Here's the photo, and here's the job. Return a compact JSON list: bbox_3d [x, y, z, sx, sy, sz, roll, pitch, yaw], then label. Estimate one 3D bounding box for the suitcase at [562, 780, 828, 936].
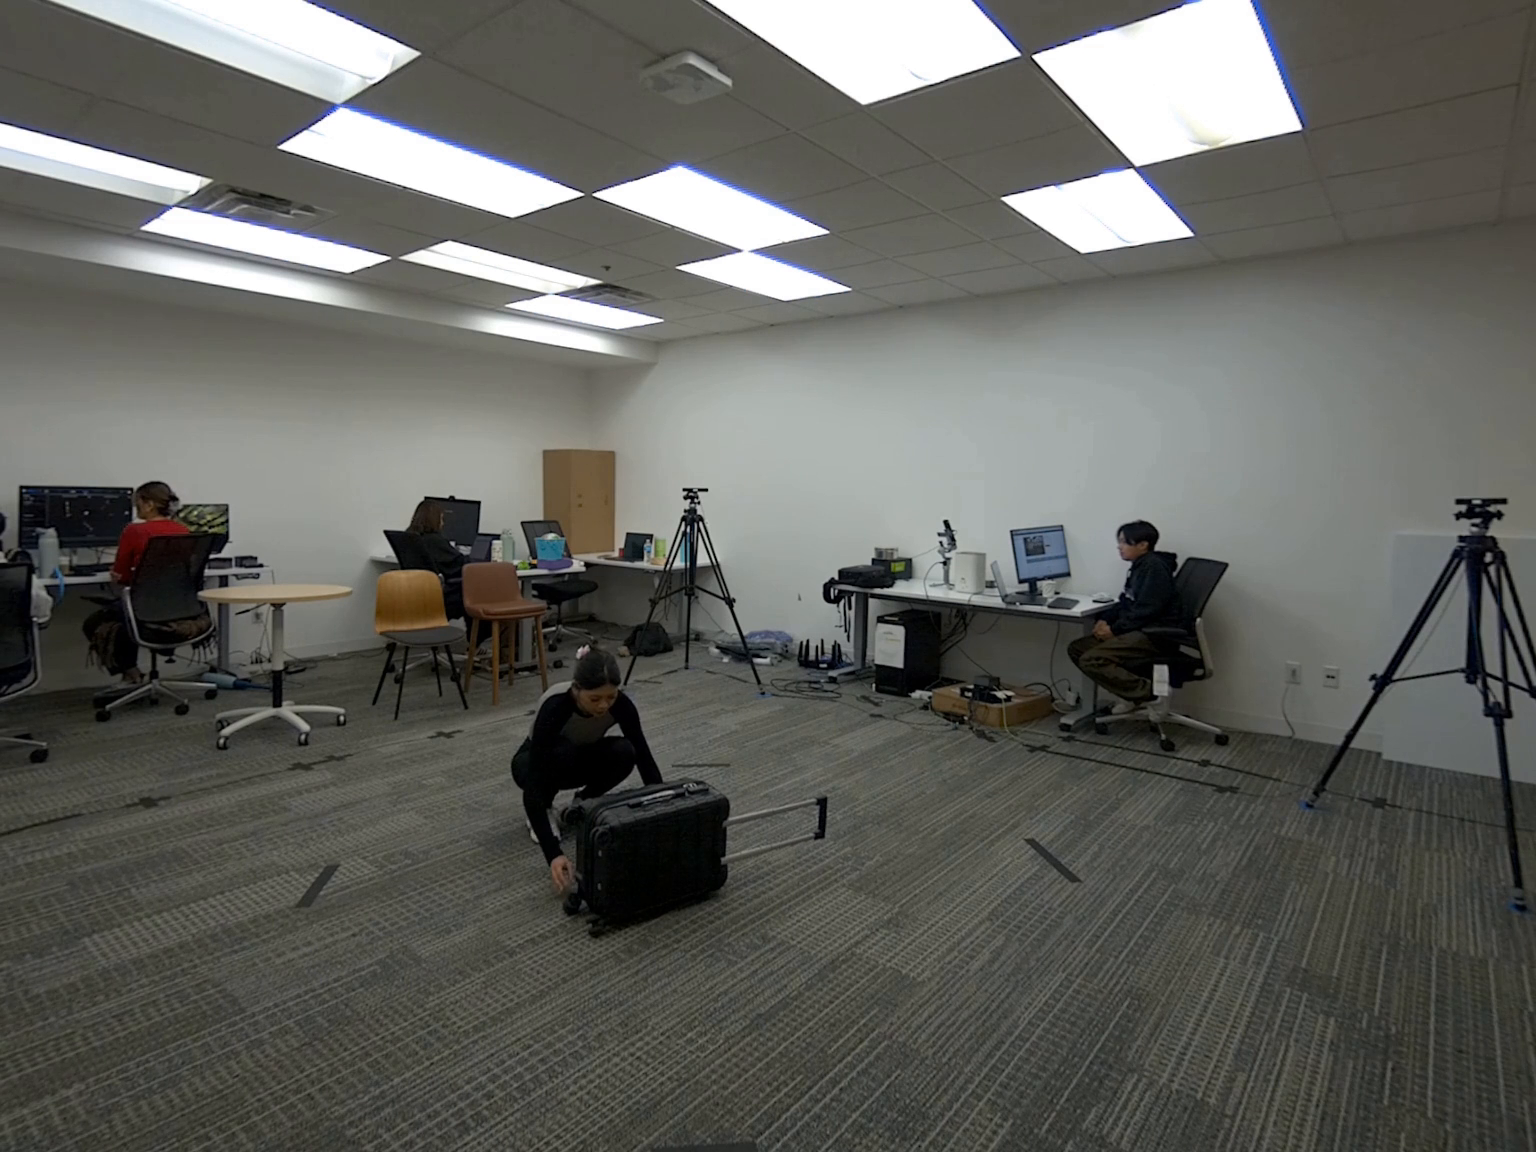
[{"bbox_3d":[-0.240,0.893,2.975,0.950,0.382,0.266,-3,6,-39],"label":"suitcase"}]
